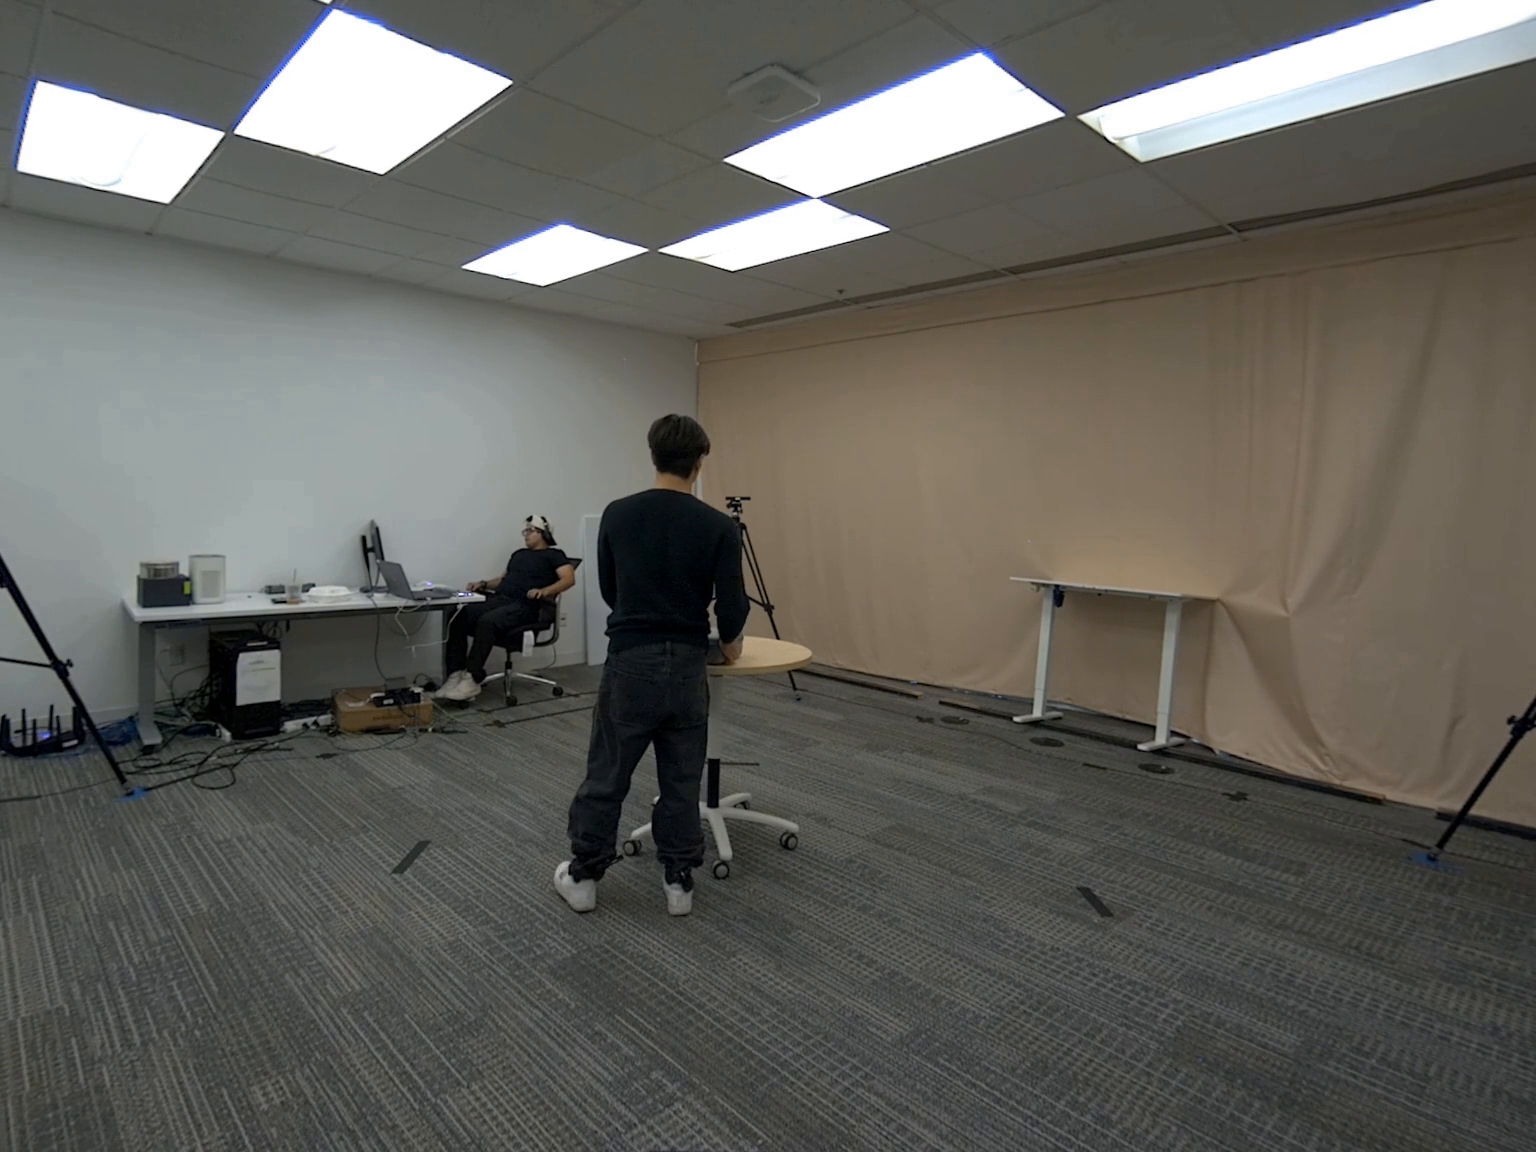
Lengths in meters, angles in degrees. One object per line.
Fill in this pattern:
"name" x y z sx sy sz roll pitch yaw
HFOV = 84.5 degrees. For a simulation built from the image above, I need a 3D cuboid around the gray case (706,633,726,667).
"gray case" -0.248 0.260 3.174 0.261 0.104 0.257 3 5 19
